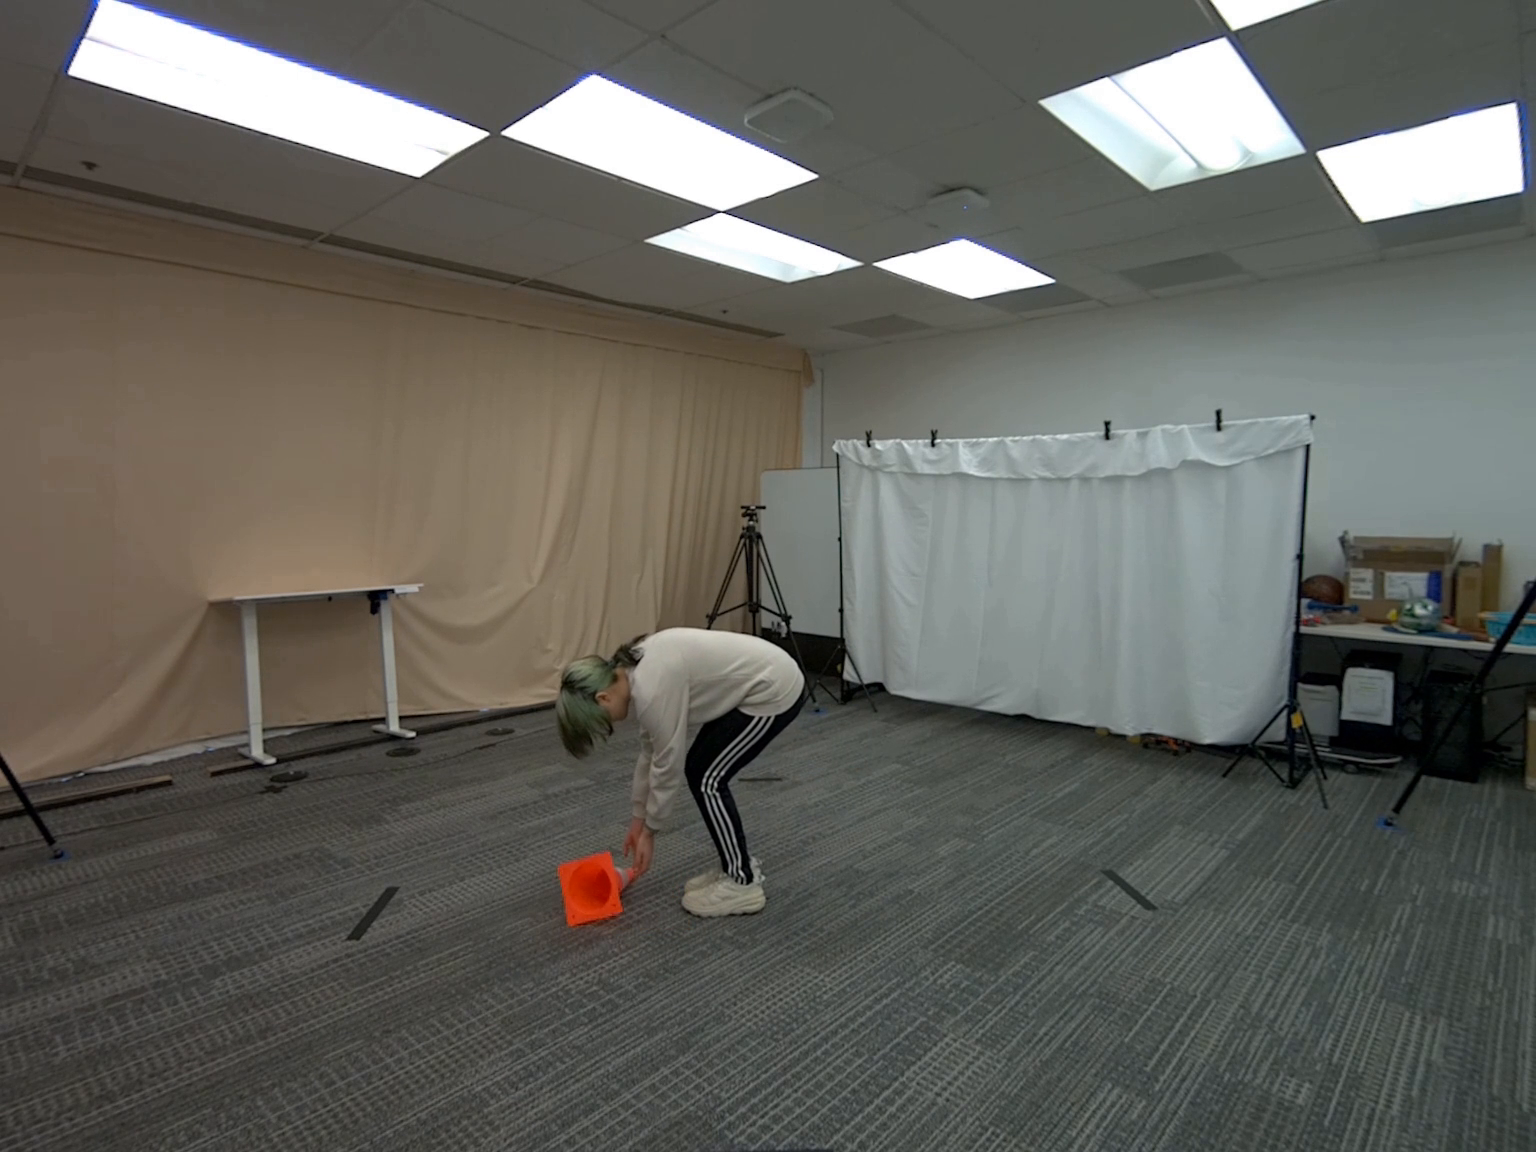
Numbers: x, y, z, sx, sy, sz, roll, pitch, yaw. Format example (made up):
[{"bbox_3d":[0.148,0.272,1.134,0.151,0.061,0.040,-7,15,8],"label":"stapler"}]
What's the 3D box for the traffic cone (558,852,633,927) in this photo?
[{"bbox_3d":[-0.553,1.095,2.992,0.205,0.208,0.375,-16,-16,8],"label":"traffic cone"}]
